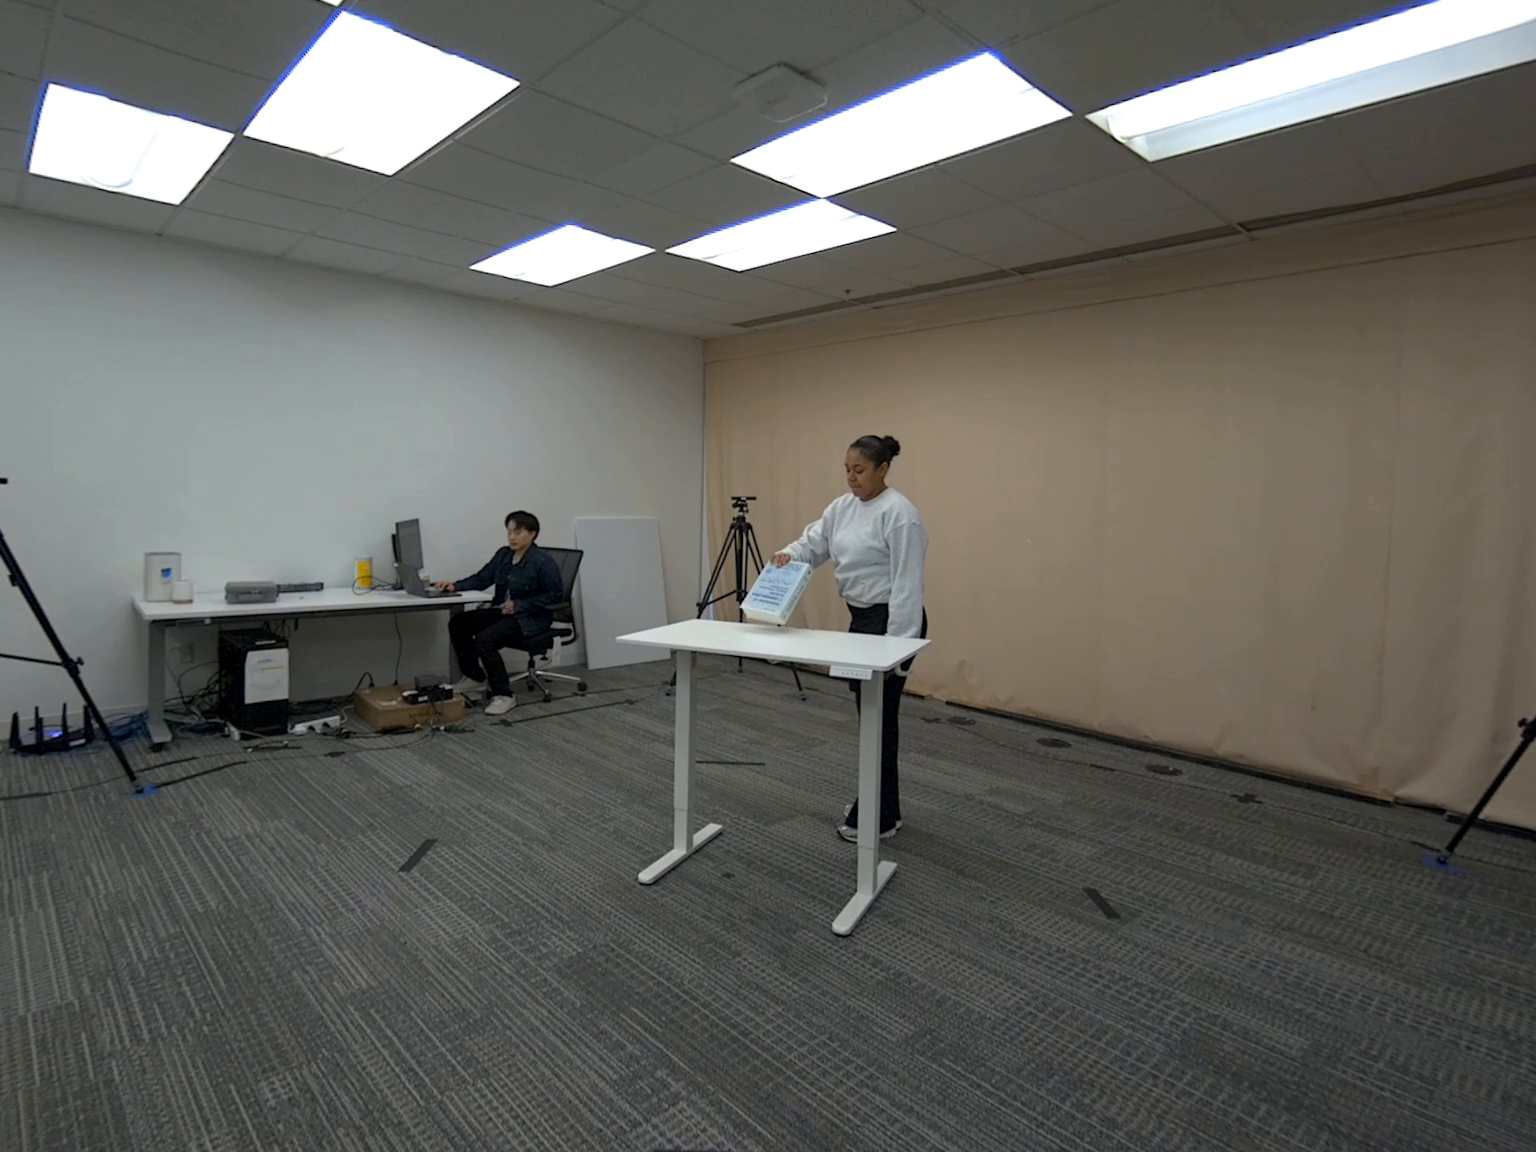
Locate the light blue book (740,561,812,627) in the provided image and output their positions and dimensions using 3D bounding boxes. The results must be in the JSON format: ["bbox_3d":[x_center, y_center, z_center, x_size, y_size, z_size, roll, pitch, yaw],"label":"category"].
[{"bbox_3d":[0.036,0.057,3.290,0.196,0.262,0.057,8,-35,36],"label":"light blue book"}]
